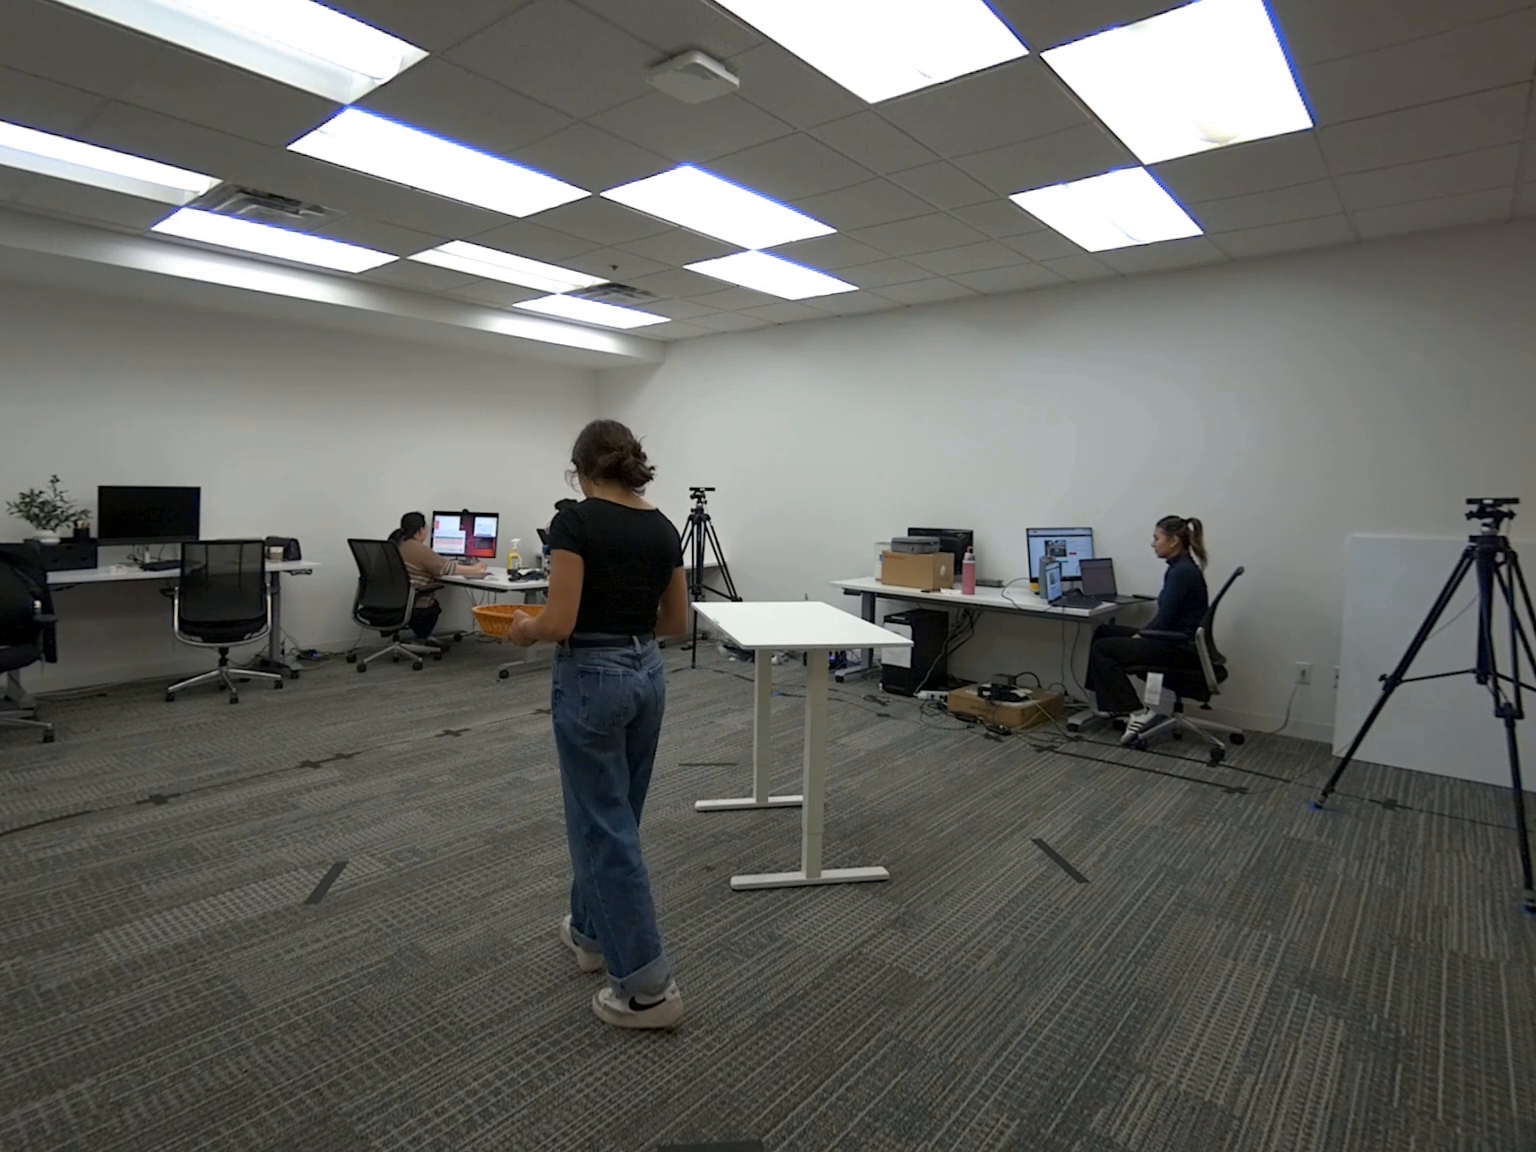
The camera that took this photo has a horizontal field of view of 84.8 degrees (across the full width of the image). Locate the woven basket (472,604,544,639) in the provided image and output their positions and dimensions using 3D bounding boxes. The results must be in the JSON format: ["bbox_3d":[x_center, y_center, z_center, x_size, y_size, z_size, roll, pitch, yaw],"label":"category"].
[{"bbox_3d":[-0.730,0.148,2.486,0.362,0.073,0.244,4,3,42],"label":"woven basket"}]
